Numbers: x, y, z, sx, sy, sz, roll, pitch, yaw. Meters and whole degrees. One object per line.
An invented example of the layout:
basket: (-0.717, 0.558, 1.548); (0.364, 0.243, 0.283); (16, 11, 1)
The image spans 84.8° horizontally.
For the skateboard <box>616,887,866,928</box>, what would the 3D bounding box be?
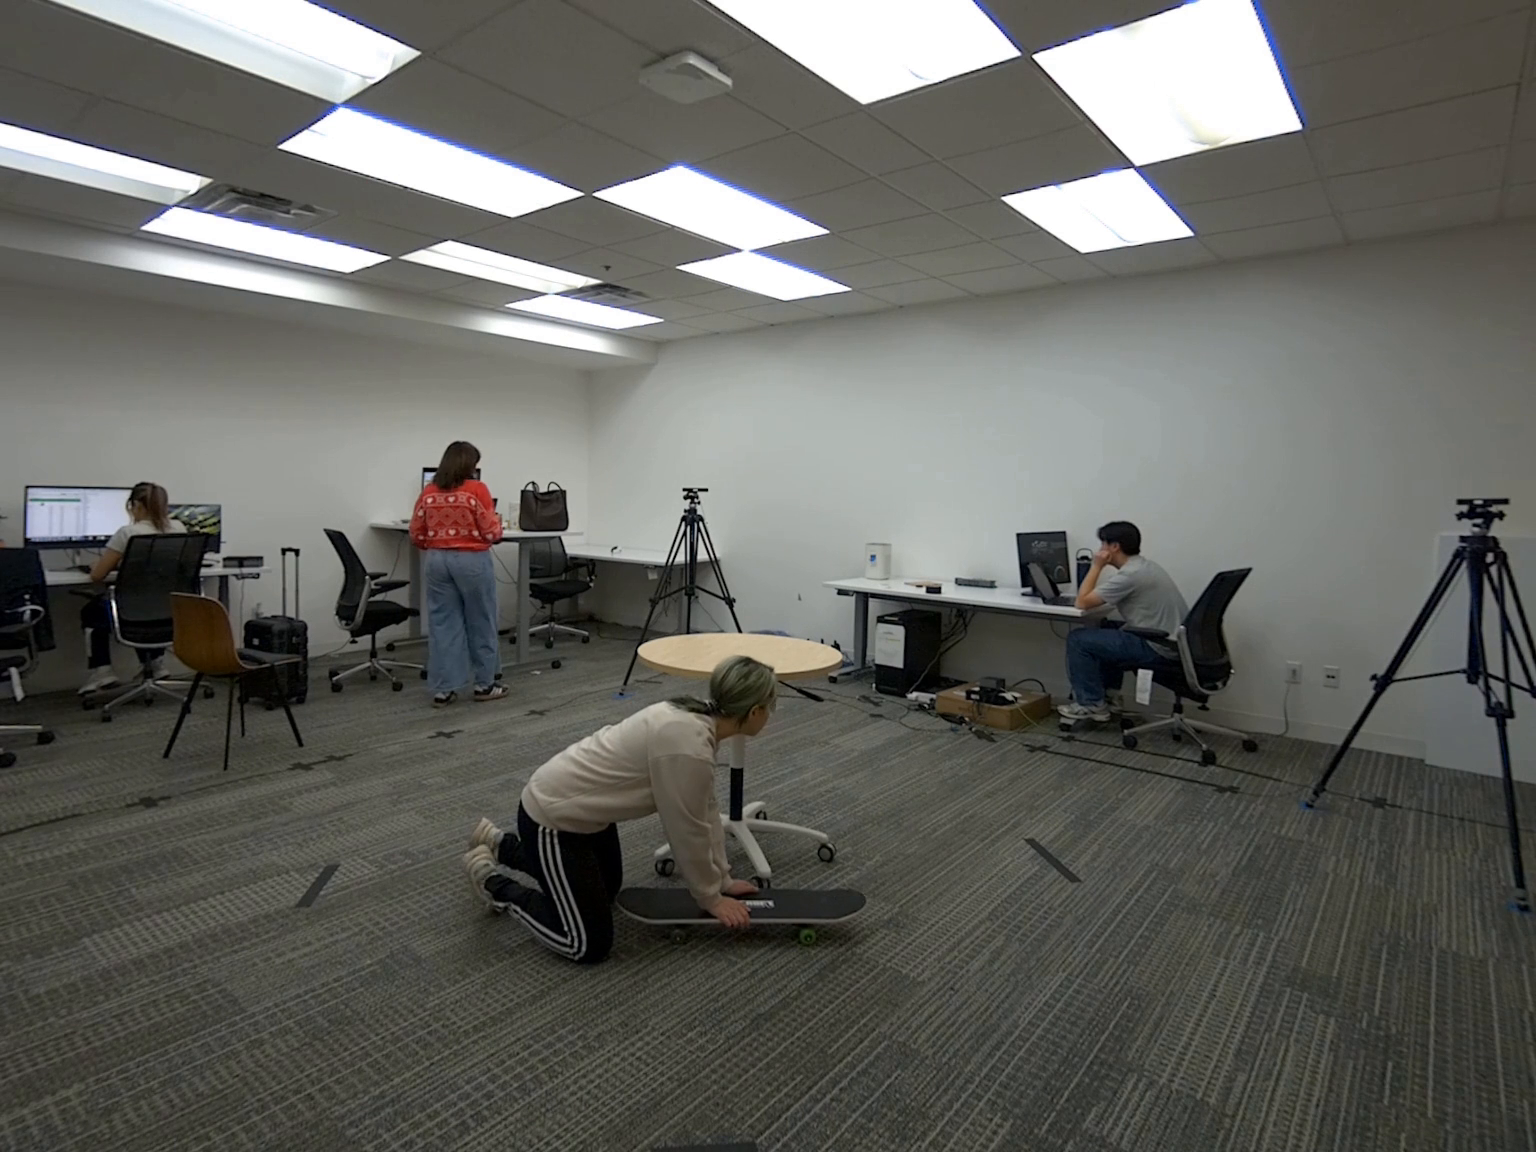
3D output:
skateboard: (-0.088, 1.063, 2.674); (0.783, 0.110, 0.195); (1, 6, -2)
